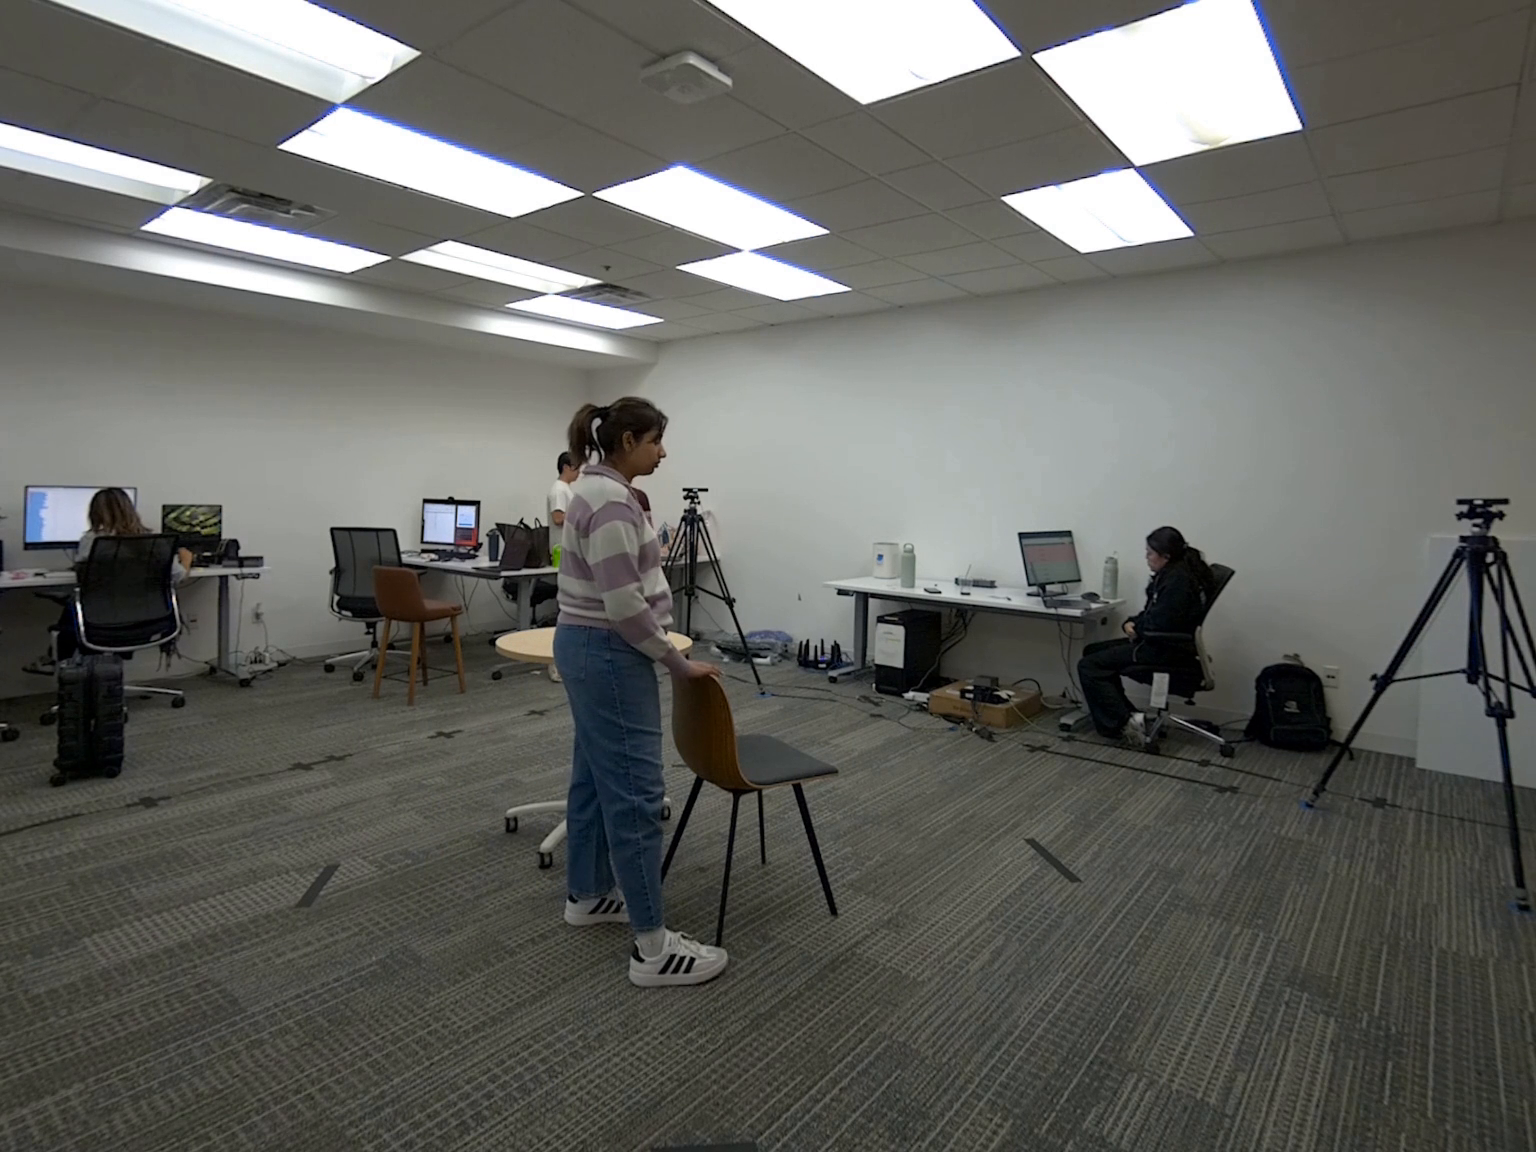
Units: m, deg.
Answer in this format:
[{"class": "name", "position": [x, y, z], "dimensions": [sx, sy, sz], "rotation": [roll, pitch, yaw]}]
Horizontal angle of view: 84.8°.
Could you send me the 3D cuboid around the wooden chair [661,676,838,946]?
[{"class": "wooden chair", "position": [-0.072, 0.667, 2.853], "dimensions": [0.510, 0.873, 0.493], "rotation": [-5, 6, -31]}]
